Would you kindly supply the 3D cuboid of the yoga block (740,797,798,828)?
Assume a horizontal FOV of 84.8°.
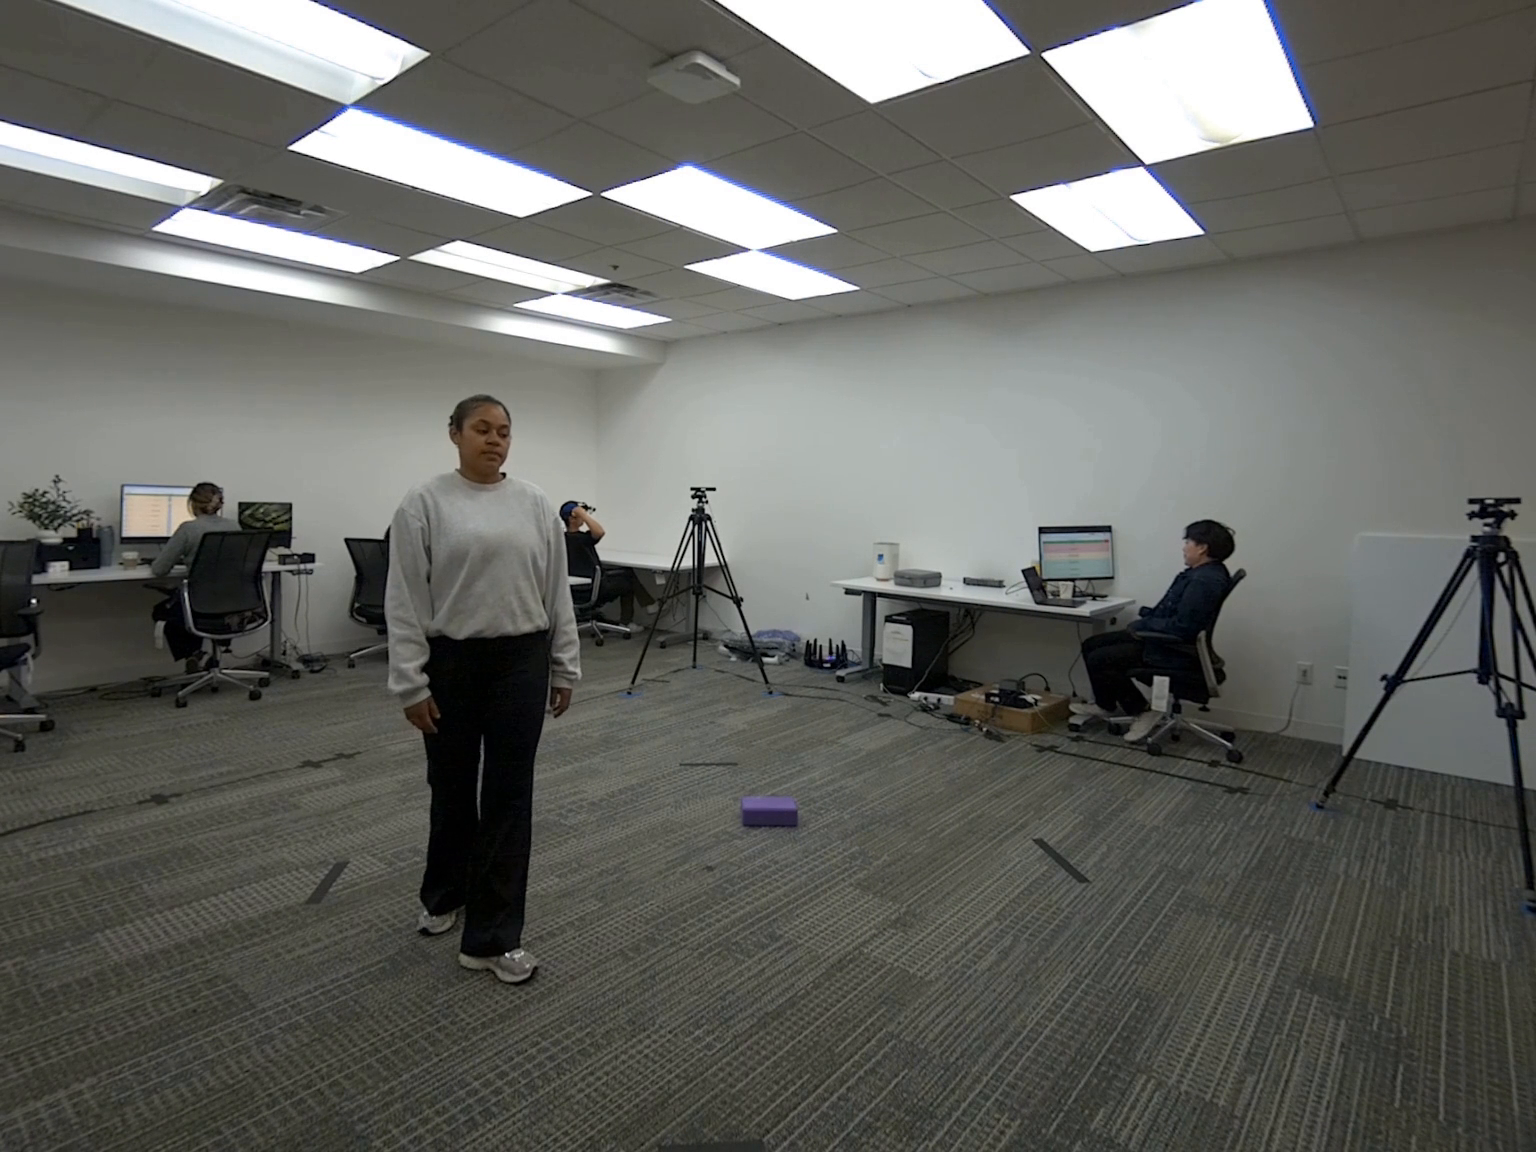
[{"bbox_3d":[-0.006,0.984,3.576,0.229,0.076,0.150,1,7,-2],"label":"yoga block"}]
